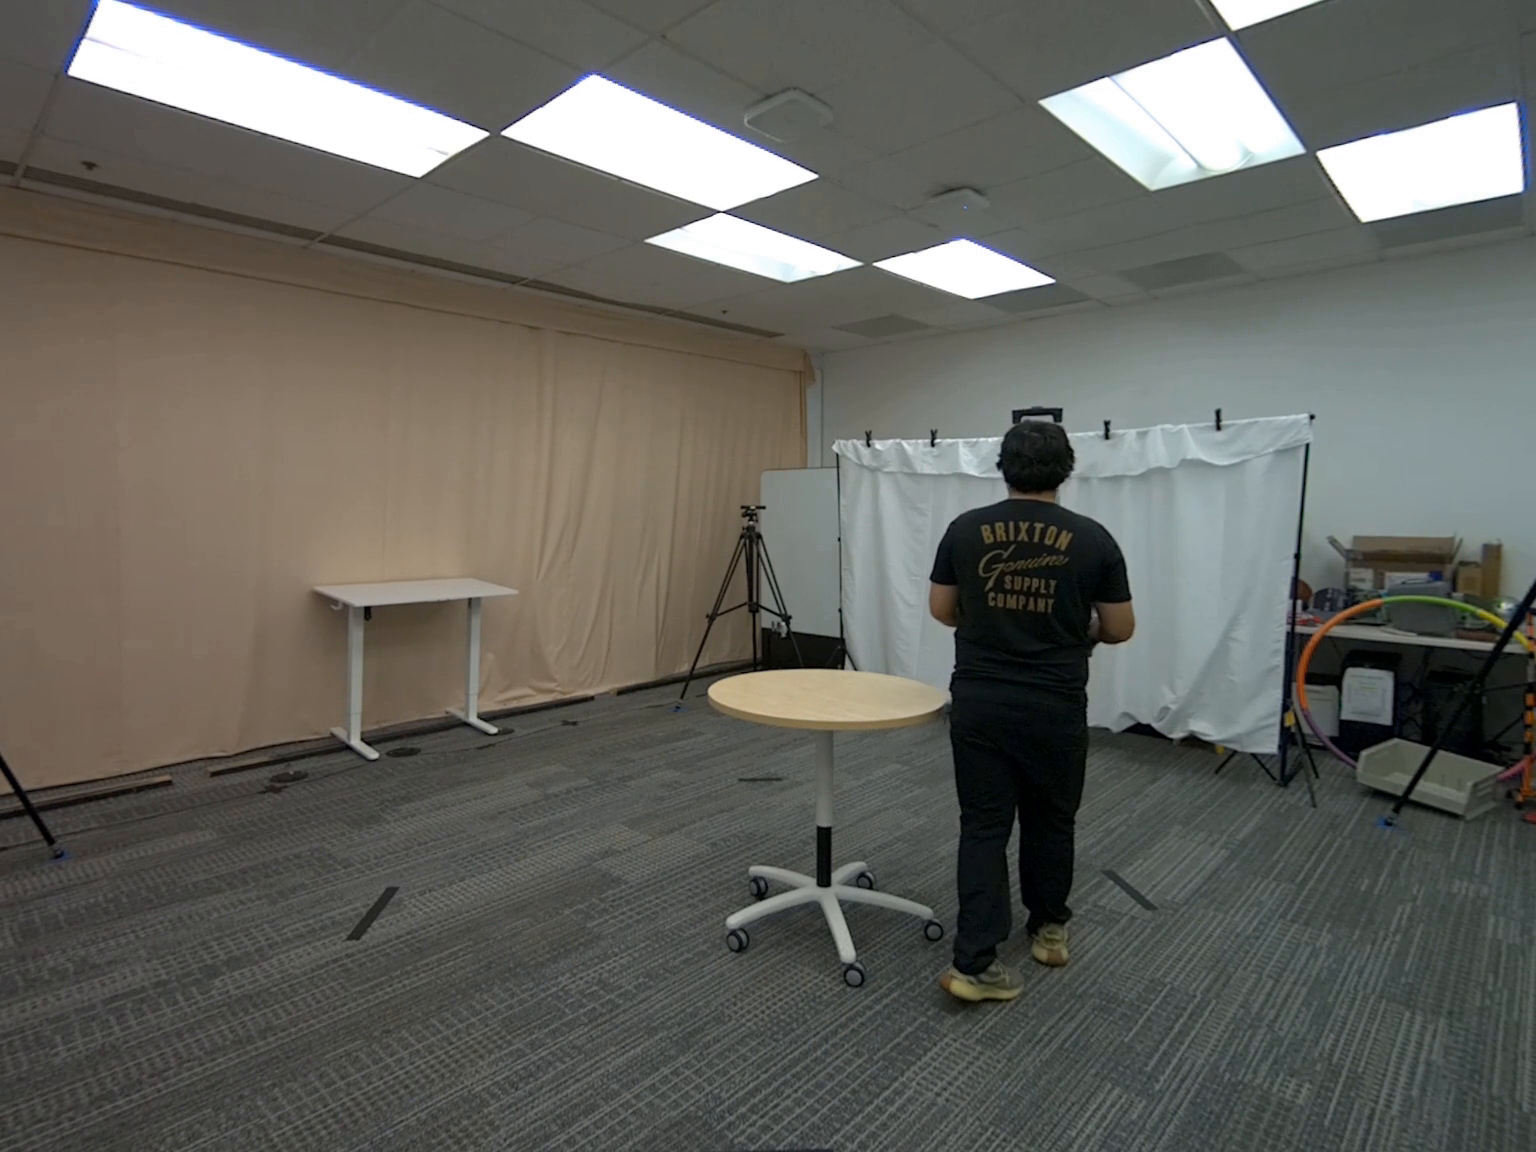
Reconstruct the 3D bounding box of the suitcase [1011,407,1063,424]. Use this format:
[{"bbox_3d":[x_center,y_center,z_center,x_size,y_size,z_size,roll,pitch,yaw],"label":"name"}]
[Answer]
[{"bbox_3d":[0.891,-0.065,2.764,0.394,0.976,0.251,1,5,26],"label":"suitcase"}]
